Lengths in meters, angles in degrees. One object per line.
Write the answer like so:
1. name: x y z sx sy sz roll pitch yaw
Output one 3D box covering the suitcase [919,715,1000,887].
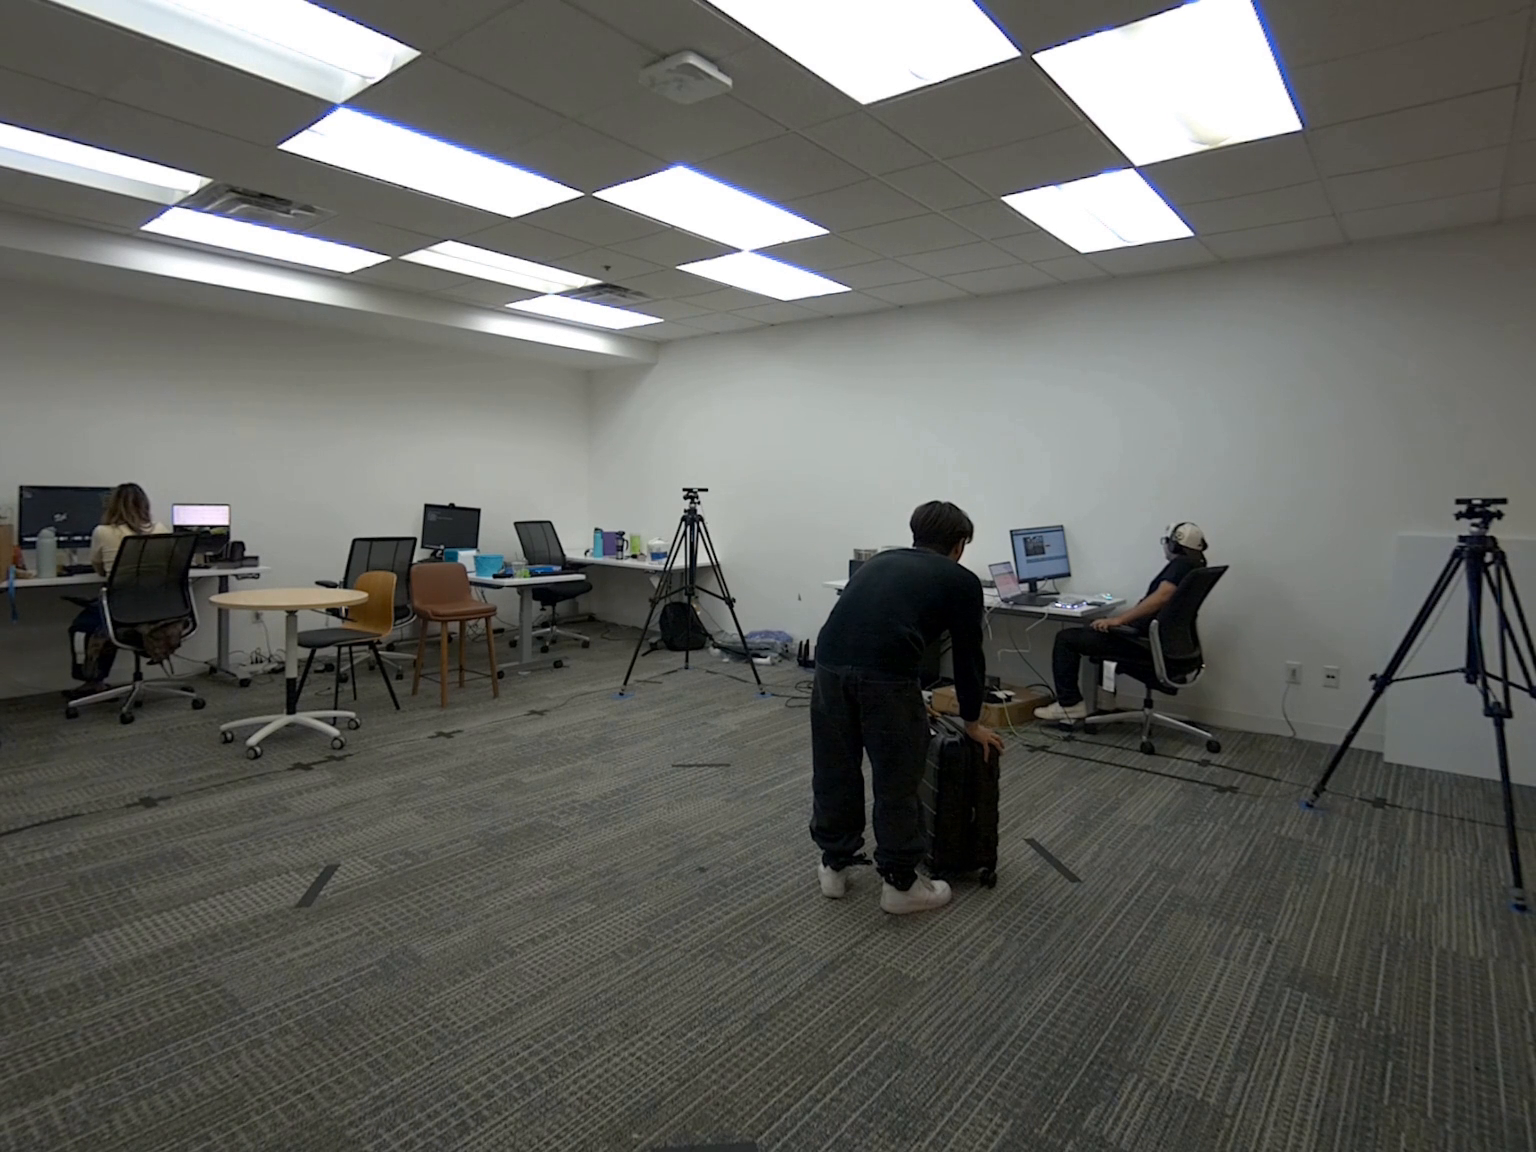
1. suitcase: 0.675 0.807 3.171 0.246 0.548 0.381 1 4 -11
